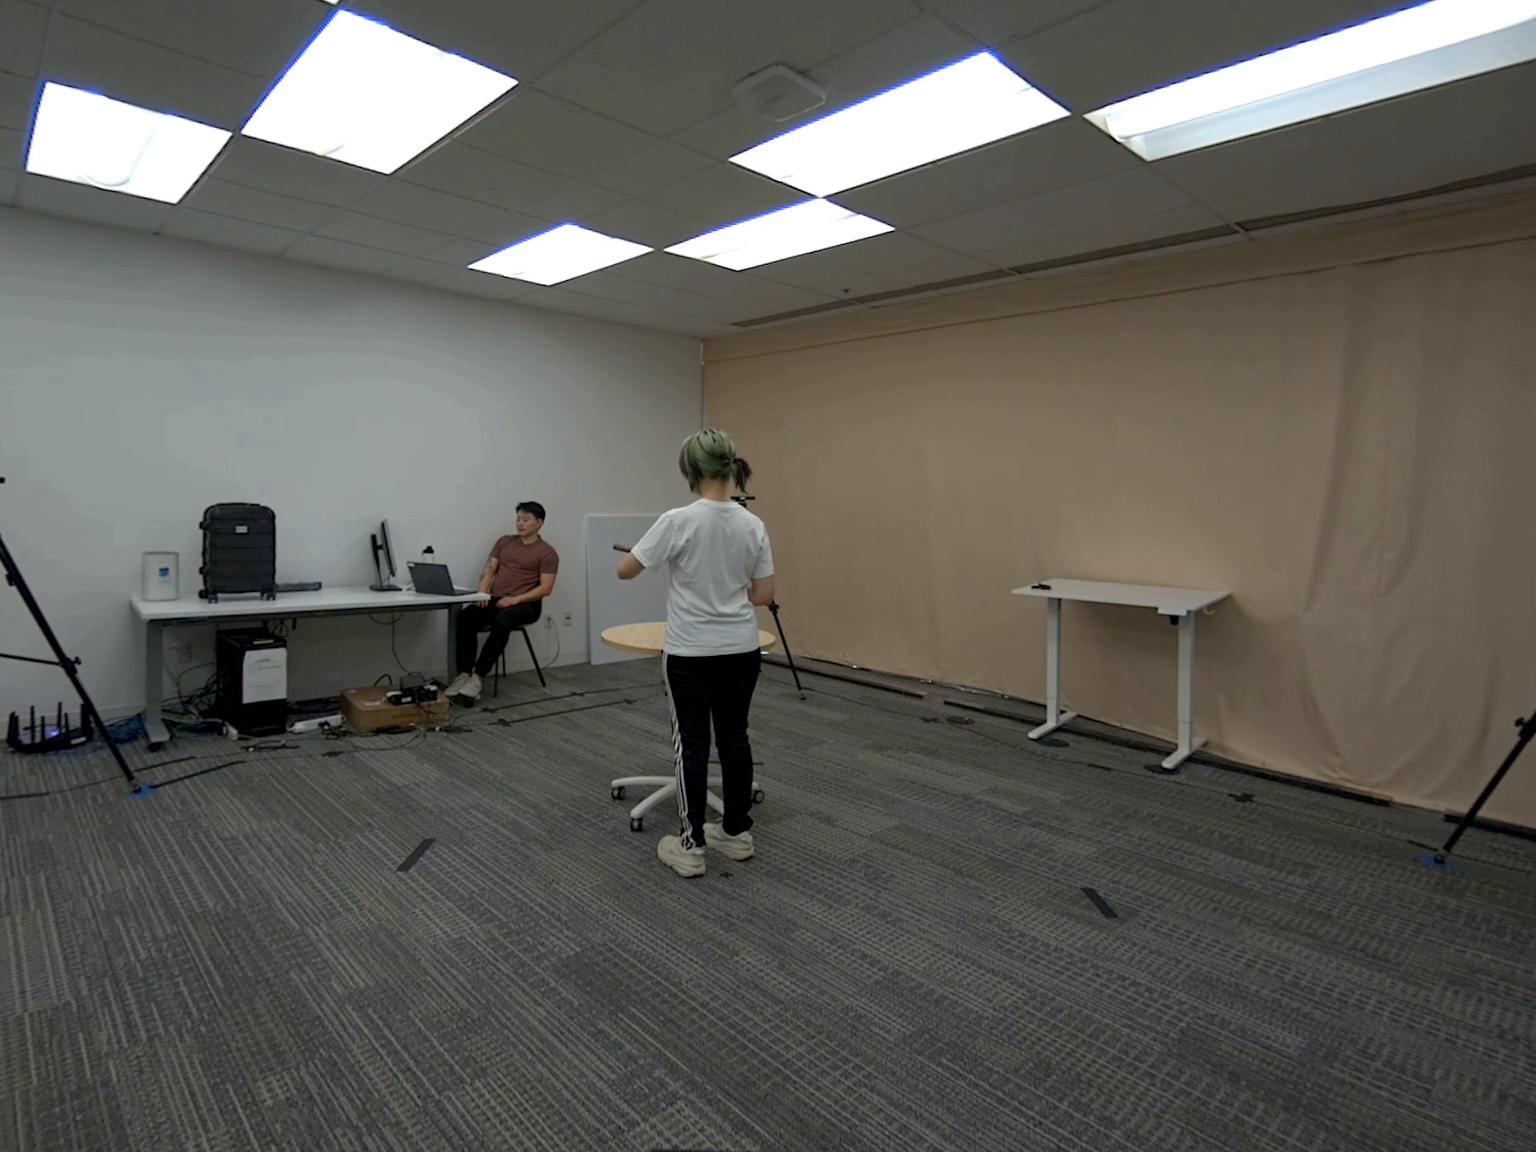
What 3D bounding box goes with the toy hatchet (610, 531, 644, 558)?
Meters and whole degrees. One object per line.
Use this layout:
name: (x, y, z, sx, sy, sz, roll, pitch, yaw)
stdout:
toy hatchet: (-0.501, -0.112, 3.460, 0.268, 0.029, 0.134, 10, 37, -6)
